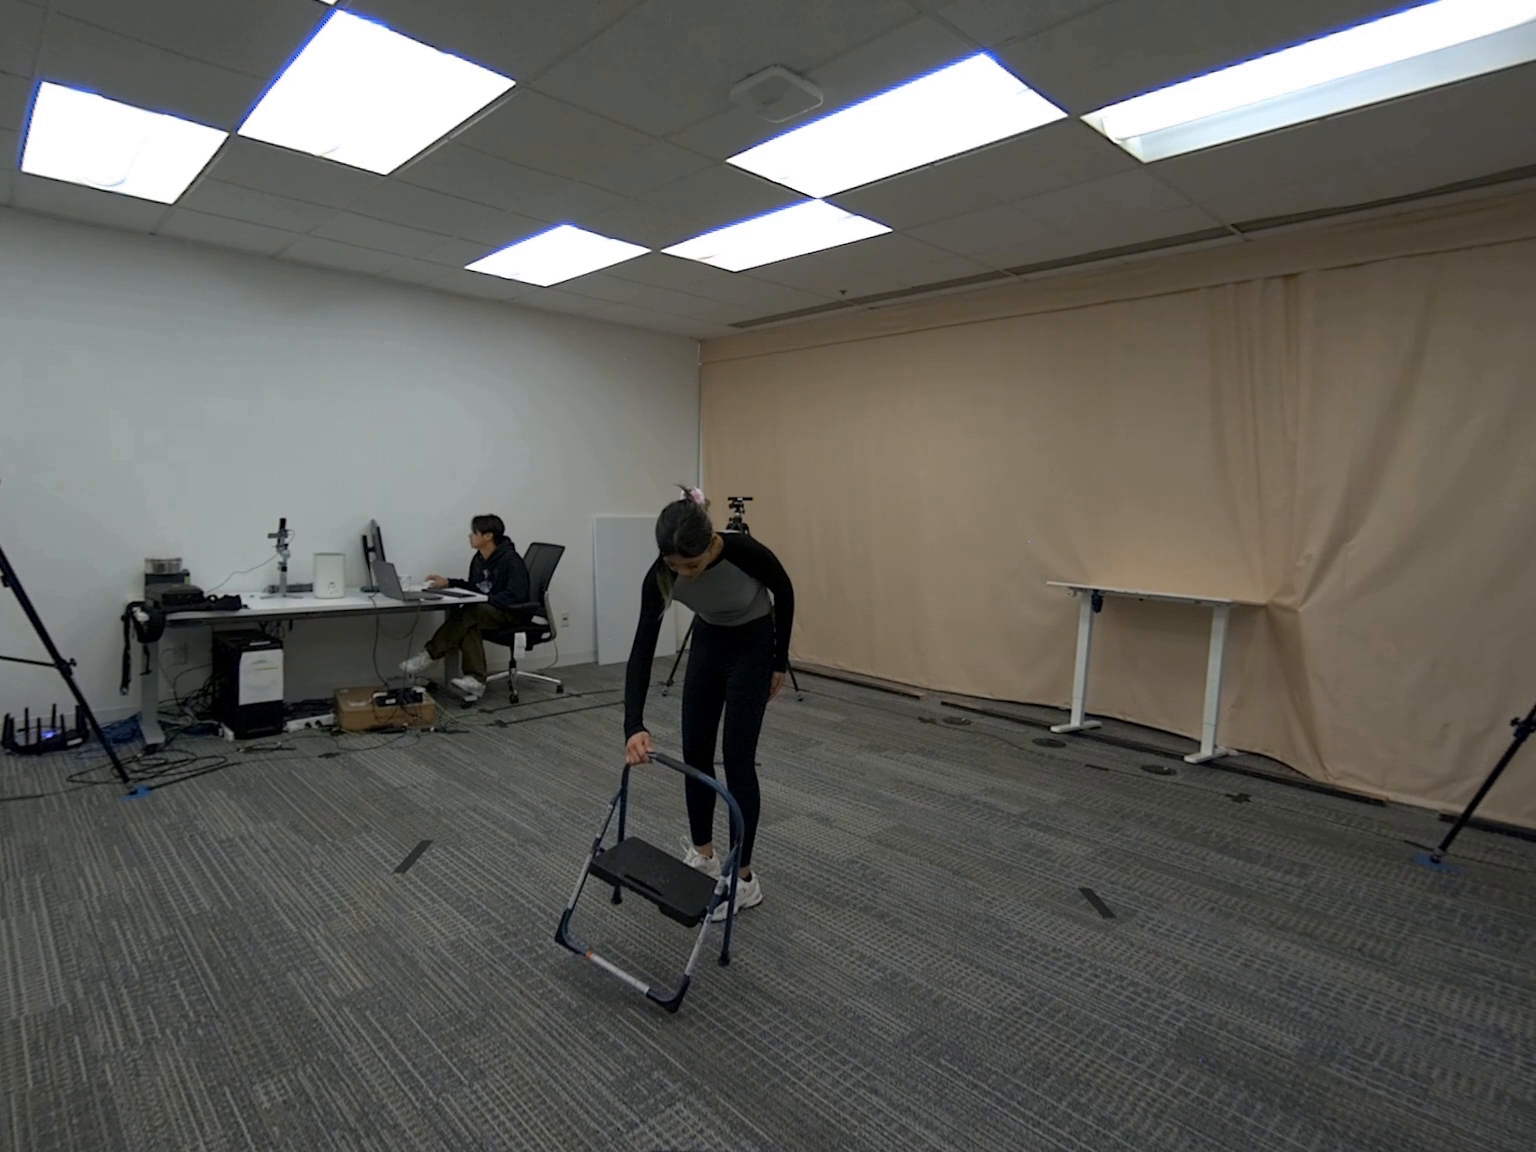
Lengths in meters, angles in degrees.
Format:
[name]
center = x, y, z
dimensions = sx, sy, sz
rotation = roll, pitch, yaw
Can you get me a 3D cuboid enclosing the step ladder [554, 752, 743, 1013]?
[step ladder]
center = -0.296, 0.816, 2.430
dimensions = 0.440, 0.604, 0.343
rotation = 19, 7, 23
